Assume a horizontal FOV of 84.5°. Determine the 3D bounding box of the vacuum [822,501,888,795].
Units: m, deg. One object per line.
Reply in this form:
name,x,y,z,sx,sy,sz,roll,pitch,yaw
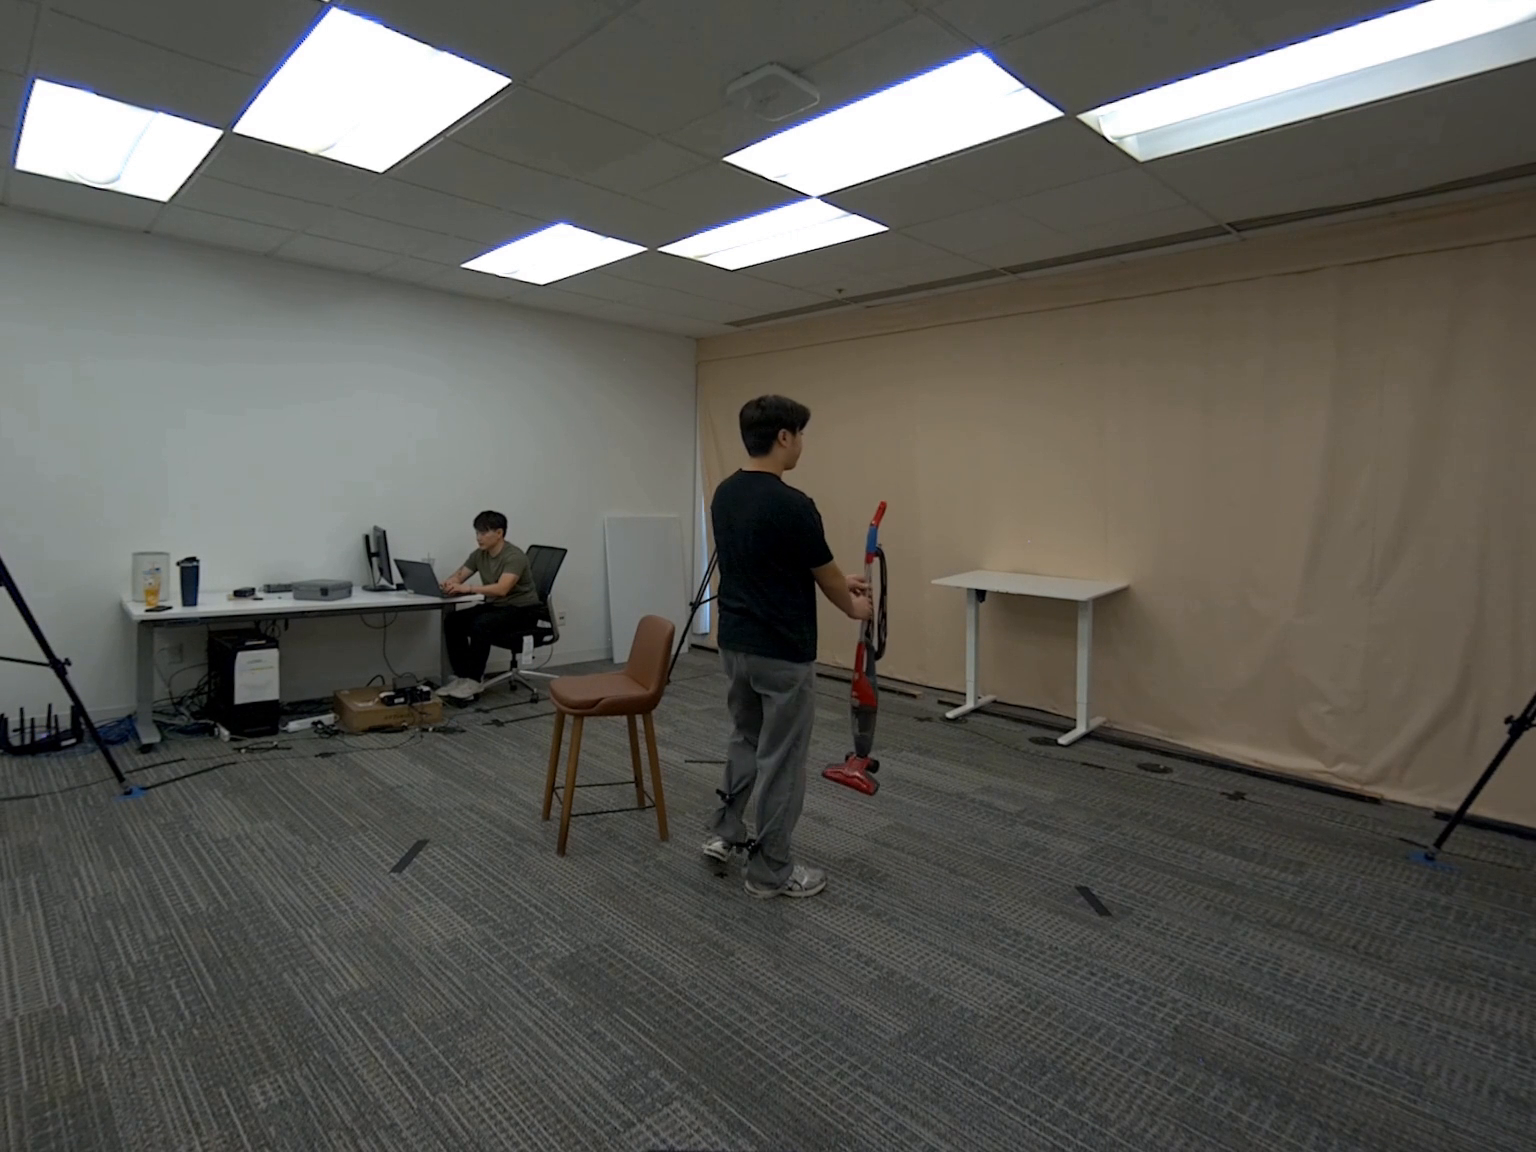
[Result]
vacuum,0.379,0.246,3.242,0.259,1.048,0.140,7,2,42
